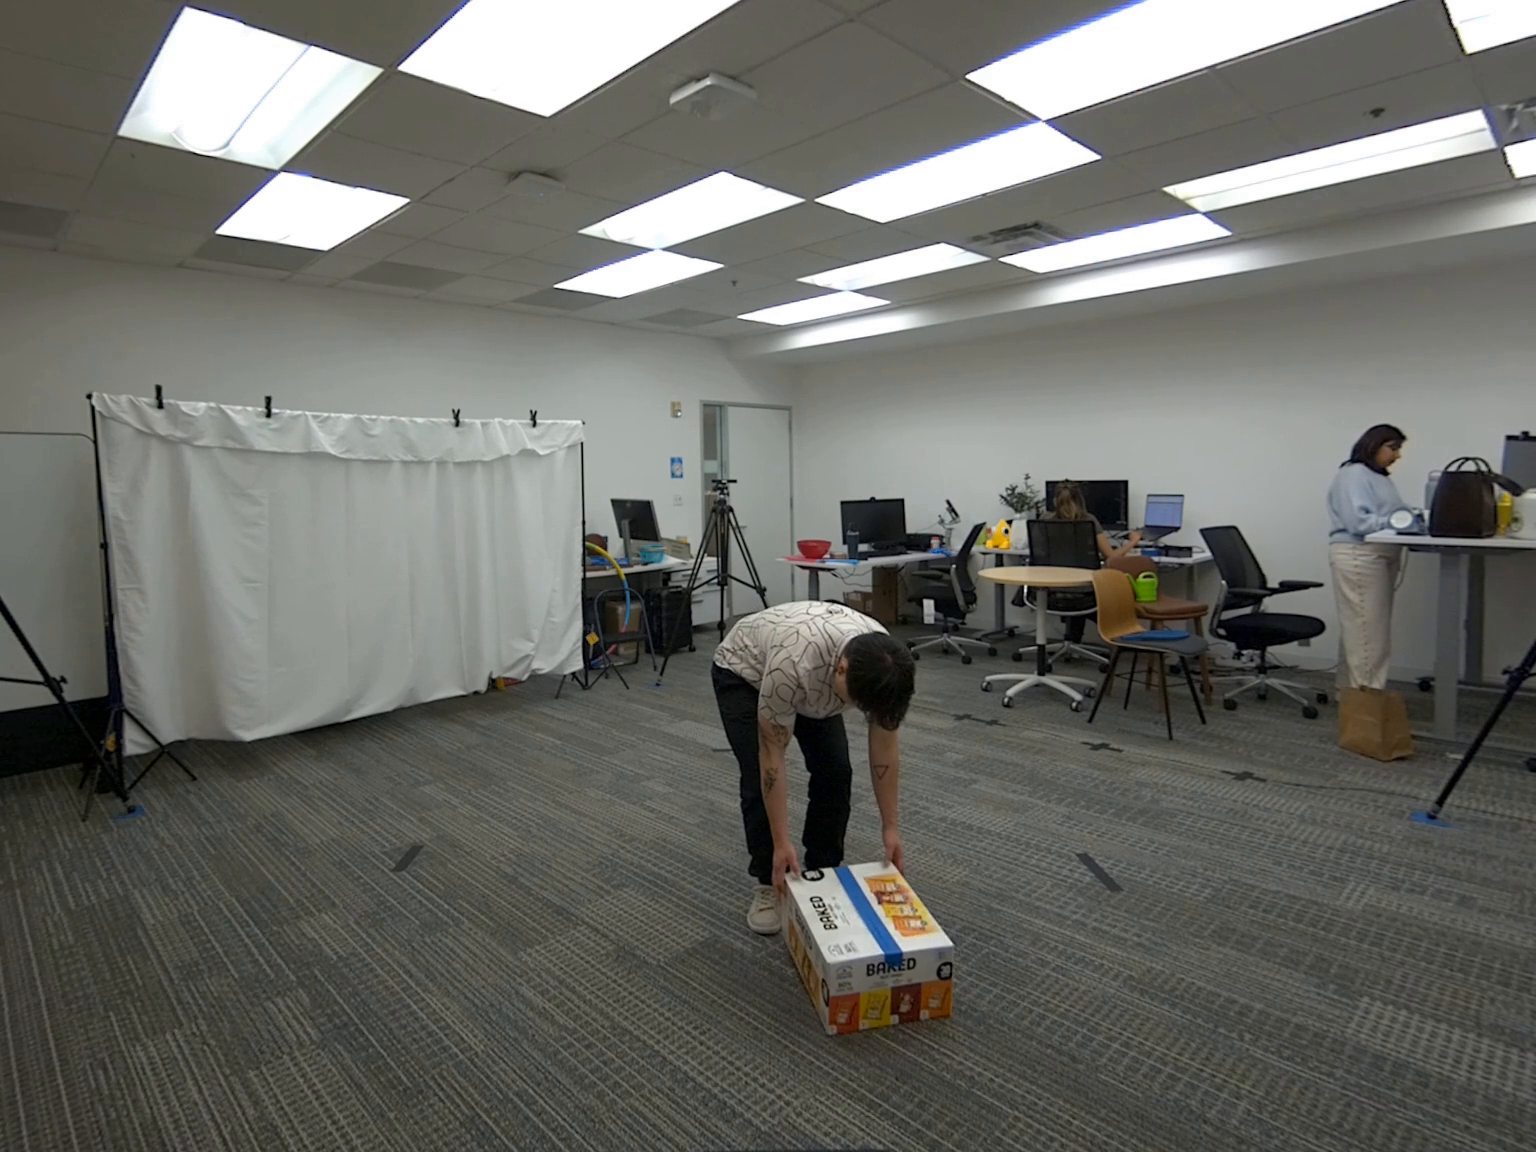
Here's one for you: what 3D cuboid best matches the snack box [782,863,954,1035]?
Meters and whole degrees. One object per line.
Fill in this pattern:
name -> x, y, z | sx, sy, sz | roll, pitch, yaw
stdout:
snack box -> 0.265, 1.004, 2.348 | 0.336, 0.203, 0.414 | -2, 13, -14
